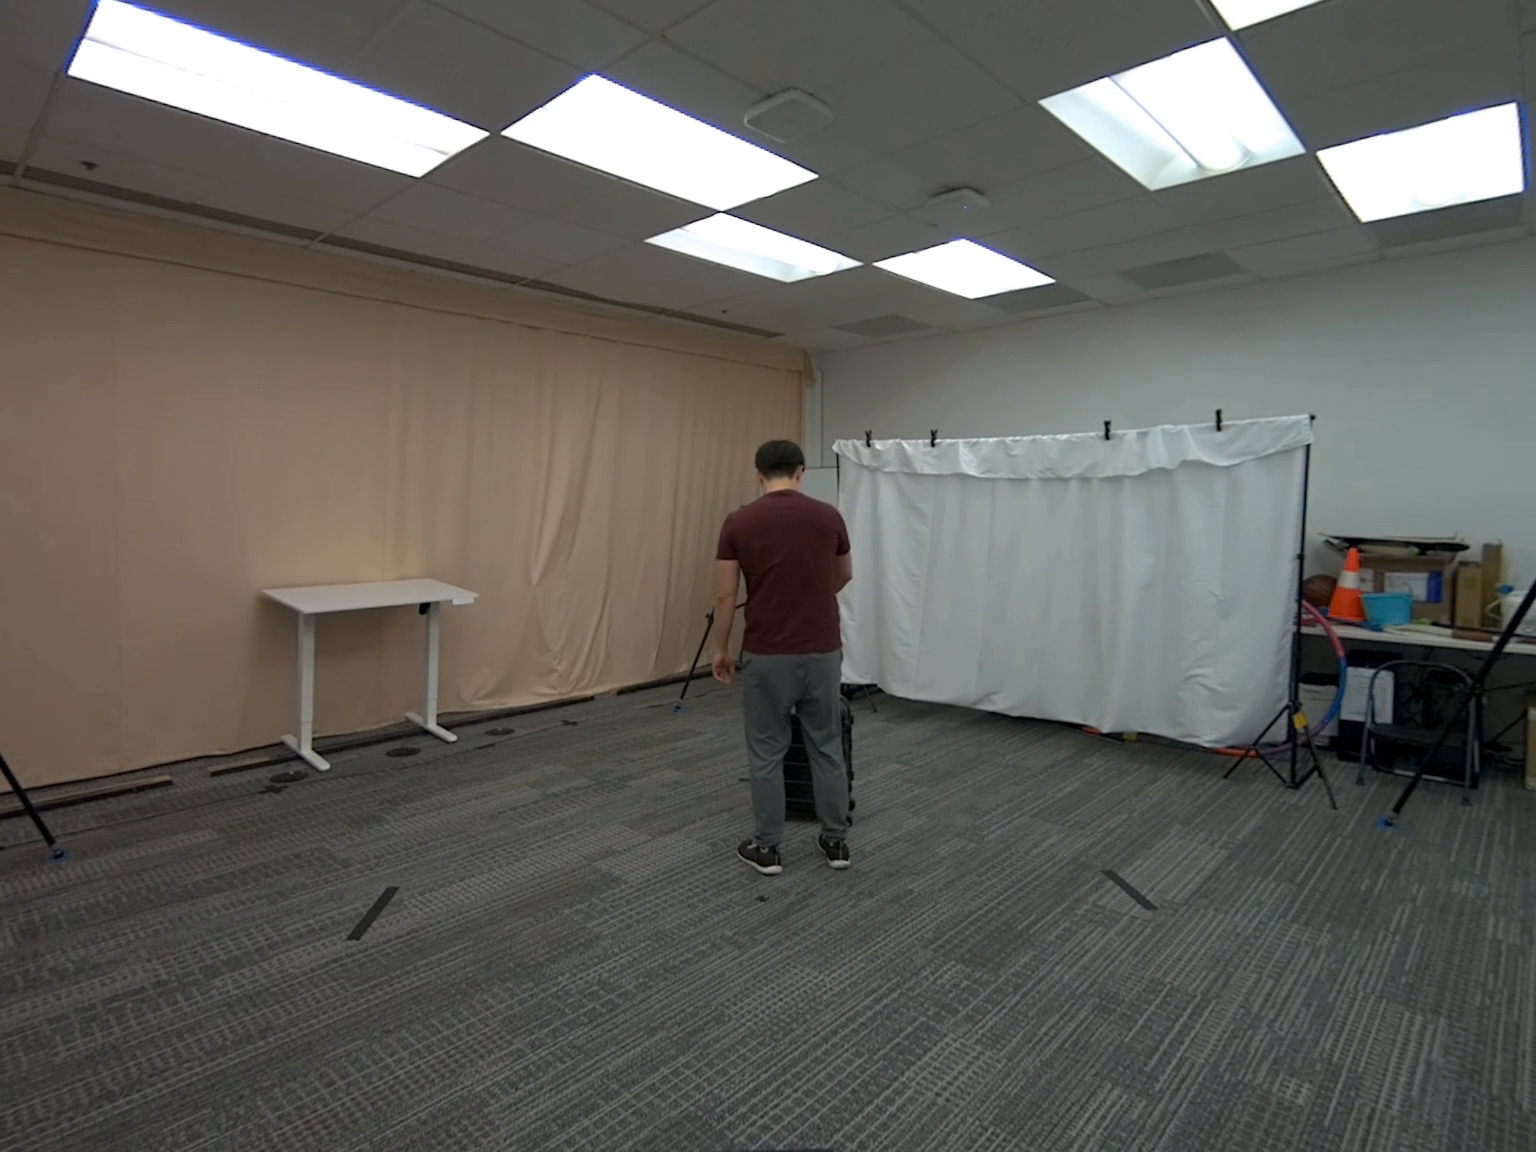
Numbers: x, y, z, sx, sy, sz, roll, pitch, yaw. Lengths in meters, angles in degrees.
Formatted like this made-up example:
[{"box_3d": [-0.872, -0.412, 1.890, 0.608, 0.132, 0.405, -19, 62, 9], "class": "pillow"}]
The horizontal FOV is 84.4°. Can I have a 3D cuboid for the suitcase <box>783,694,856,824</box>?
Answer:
[{"box_3d": [0.197, 0.599, 3.788, 0.388, 0.978, 0.254, -1, 1, 10], "class": "suitcase"}]
